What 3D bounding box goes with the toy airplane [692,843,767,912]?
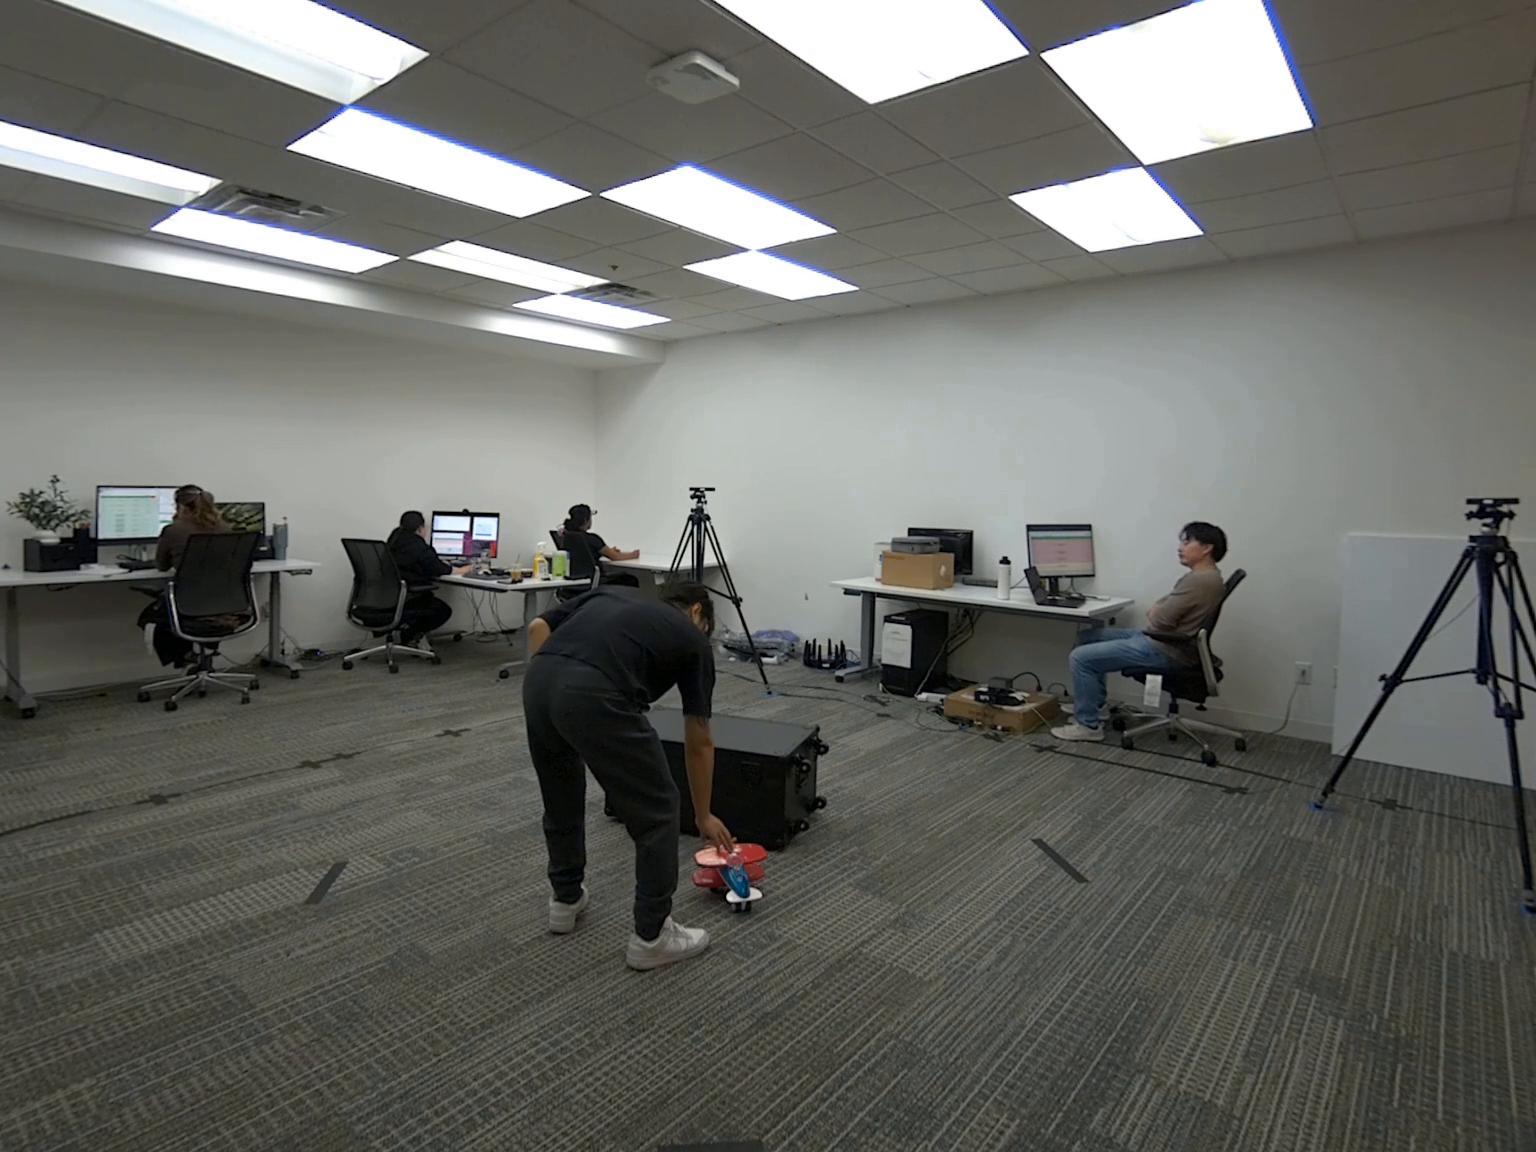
[{"bbox_3d":[-0.114,1.008,2.891,0.268,0.156,0.243,4,5,42],"label":"toy airplane"}]
